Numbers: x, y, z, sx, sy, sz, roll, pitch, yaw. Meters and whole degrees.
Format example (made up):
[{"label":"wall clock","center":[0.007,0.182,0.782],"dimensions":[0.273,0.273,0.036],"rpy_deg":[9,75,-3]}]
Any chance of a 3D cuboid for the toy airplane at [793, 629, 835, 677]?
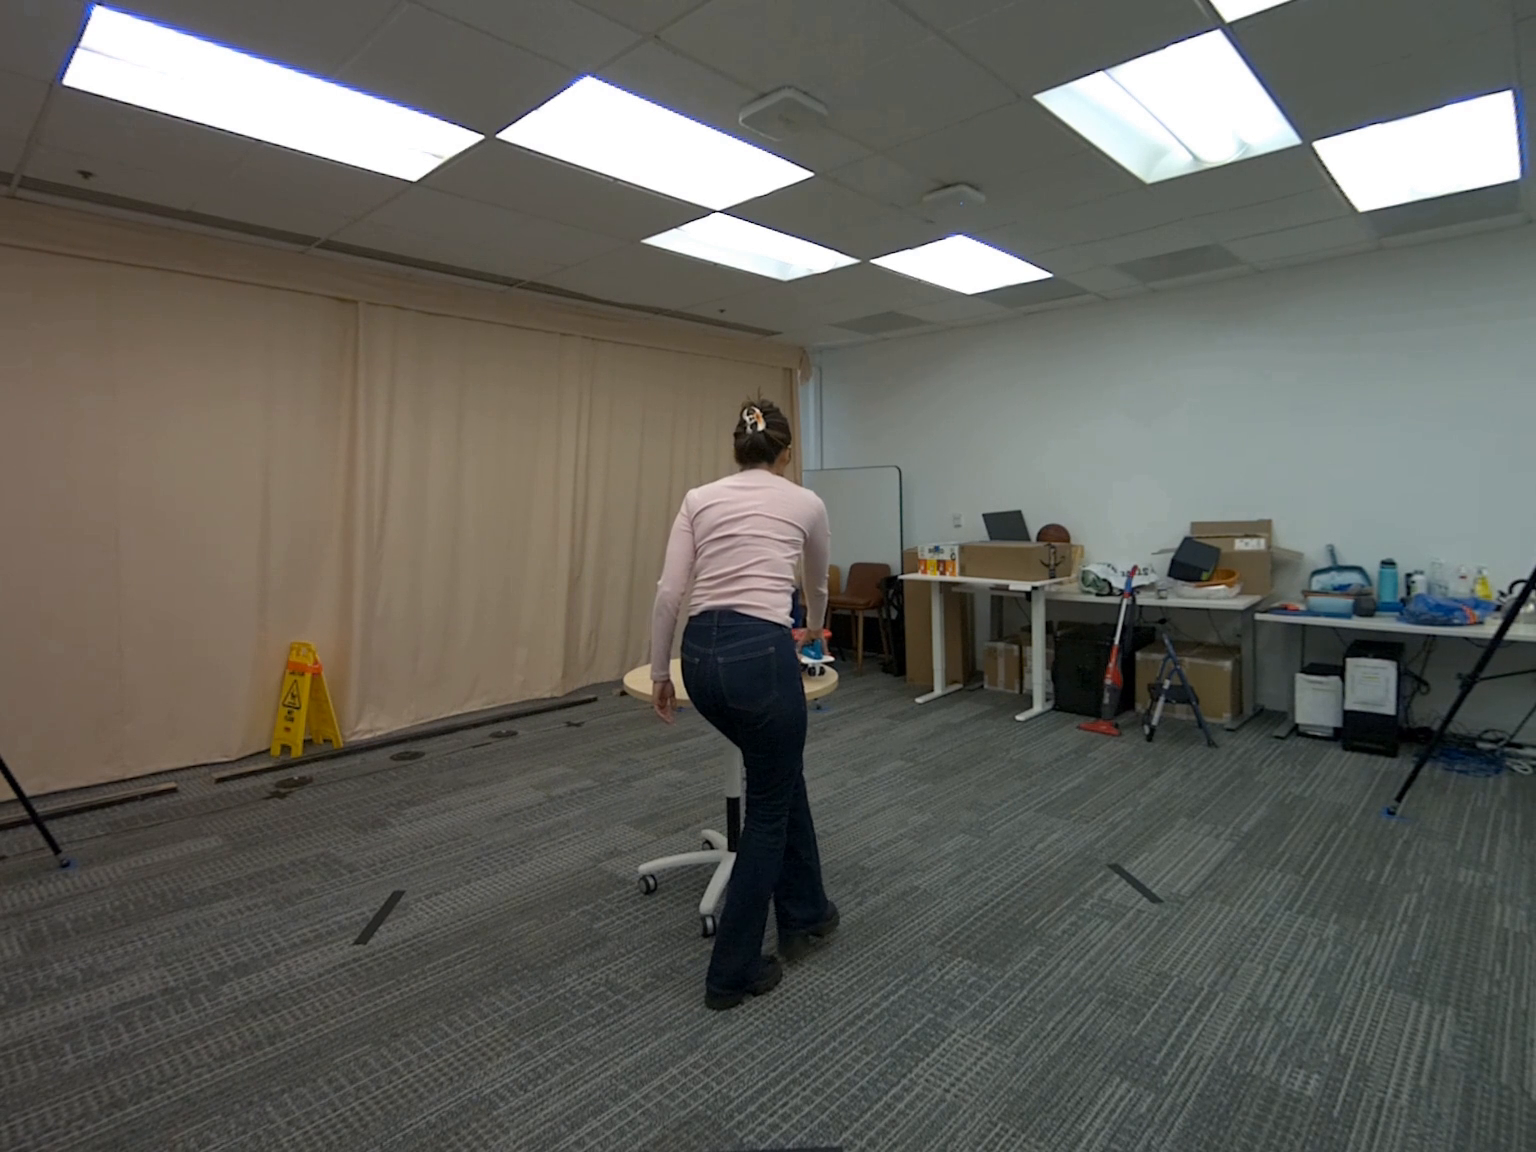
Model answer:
[{"label":"toy airplane","center":[0.135,0.267,2.994],"dimensions":[0.267,0.156,0.243],"rpy_deg":[-3,-1,40]}]
